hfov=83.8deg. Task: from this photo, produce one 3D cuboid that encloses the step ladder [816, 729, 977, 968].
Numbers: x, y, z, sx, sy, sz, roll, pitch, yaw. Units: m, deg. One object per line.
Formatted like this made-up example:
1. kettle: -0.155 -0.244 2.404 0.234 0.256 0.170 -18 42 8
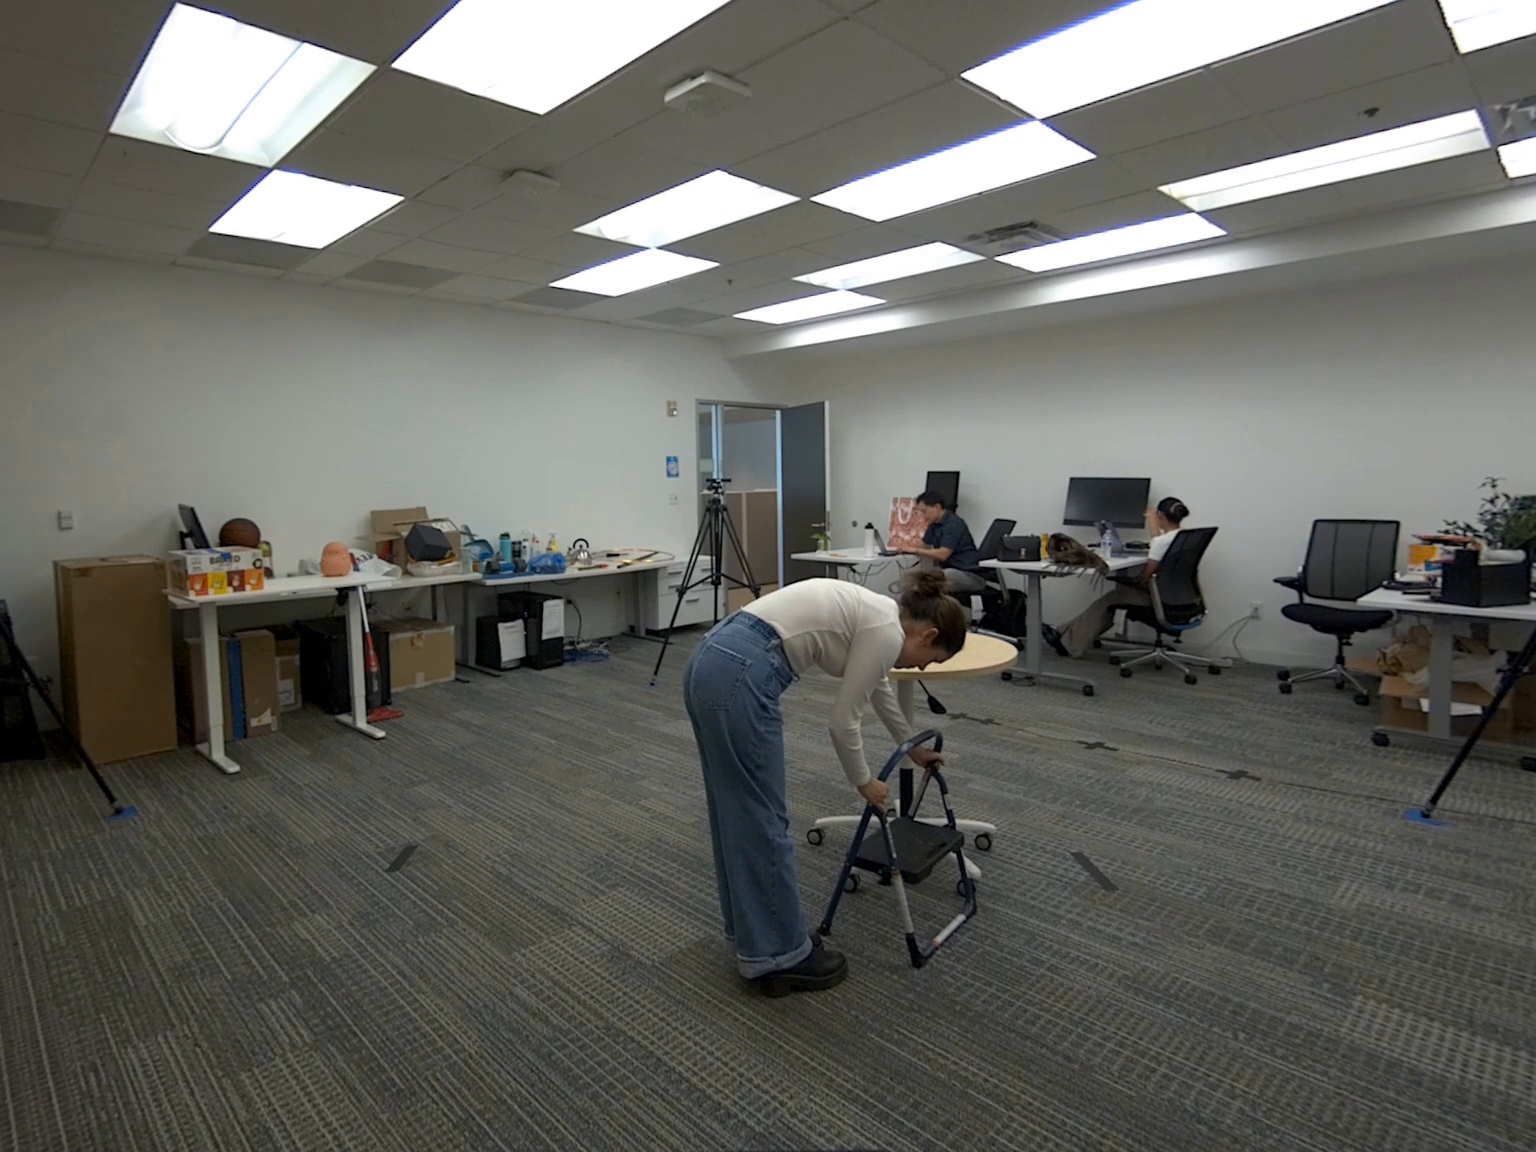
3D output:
1. step ladder: 0.407 0.780 2.661 0.359 0.604 0.420 2 5 37
